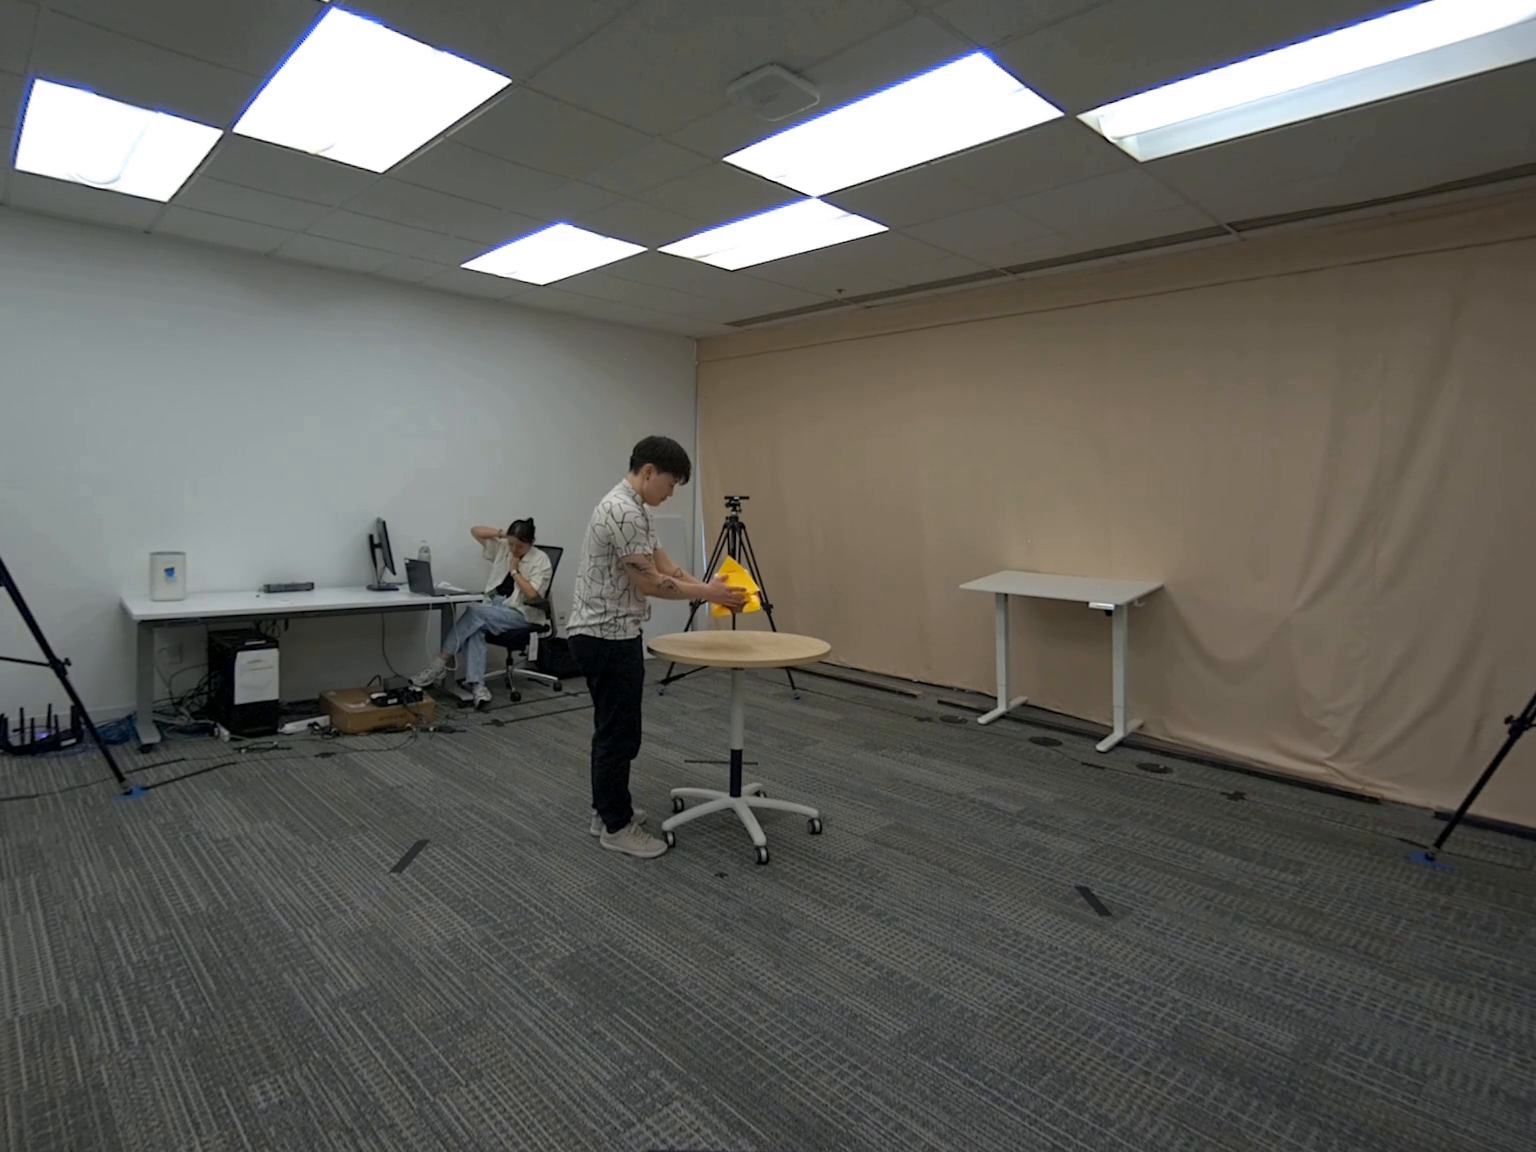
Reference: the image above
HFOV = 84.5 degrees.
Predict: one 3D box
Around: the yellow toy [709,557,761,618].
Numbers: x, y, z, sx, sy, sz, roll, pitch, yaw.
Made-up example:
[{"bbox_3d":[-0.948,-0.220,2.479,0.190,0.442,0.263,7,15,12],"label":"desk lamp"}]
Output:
[{"bbox_3d":[-0.153,0.033,3.406,0.205,0.231,0.193,-8,-1,-1],"label":"yellow toy"}]
